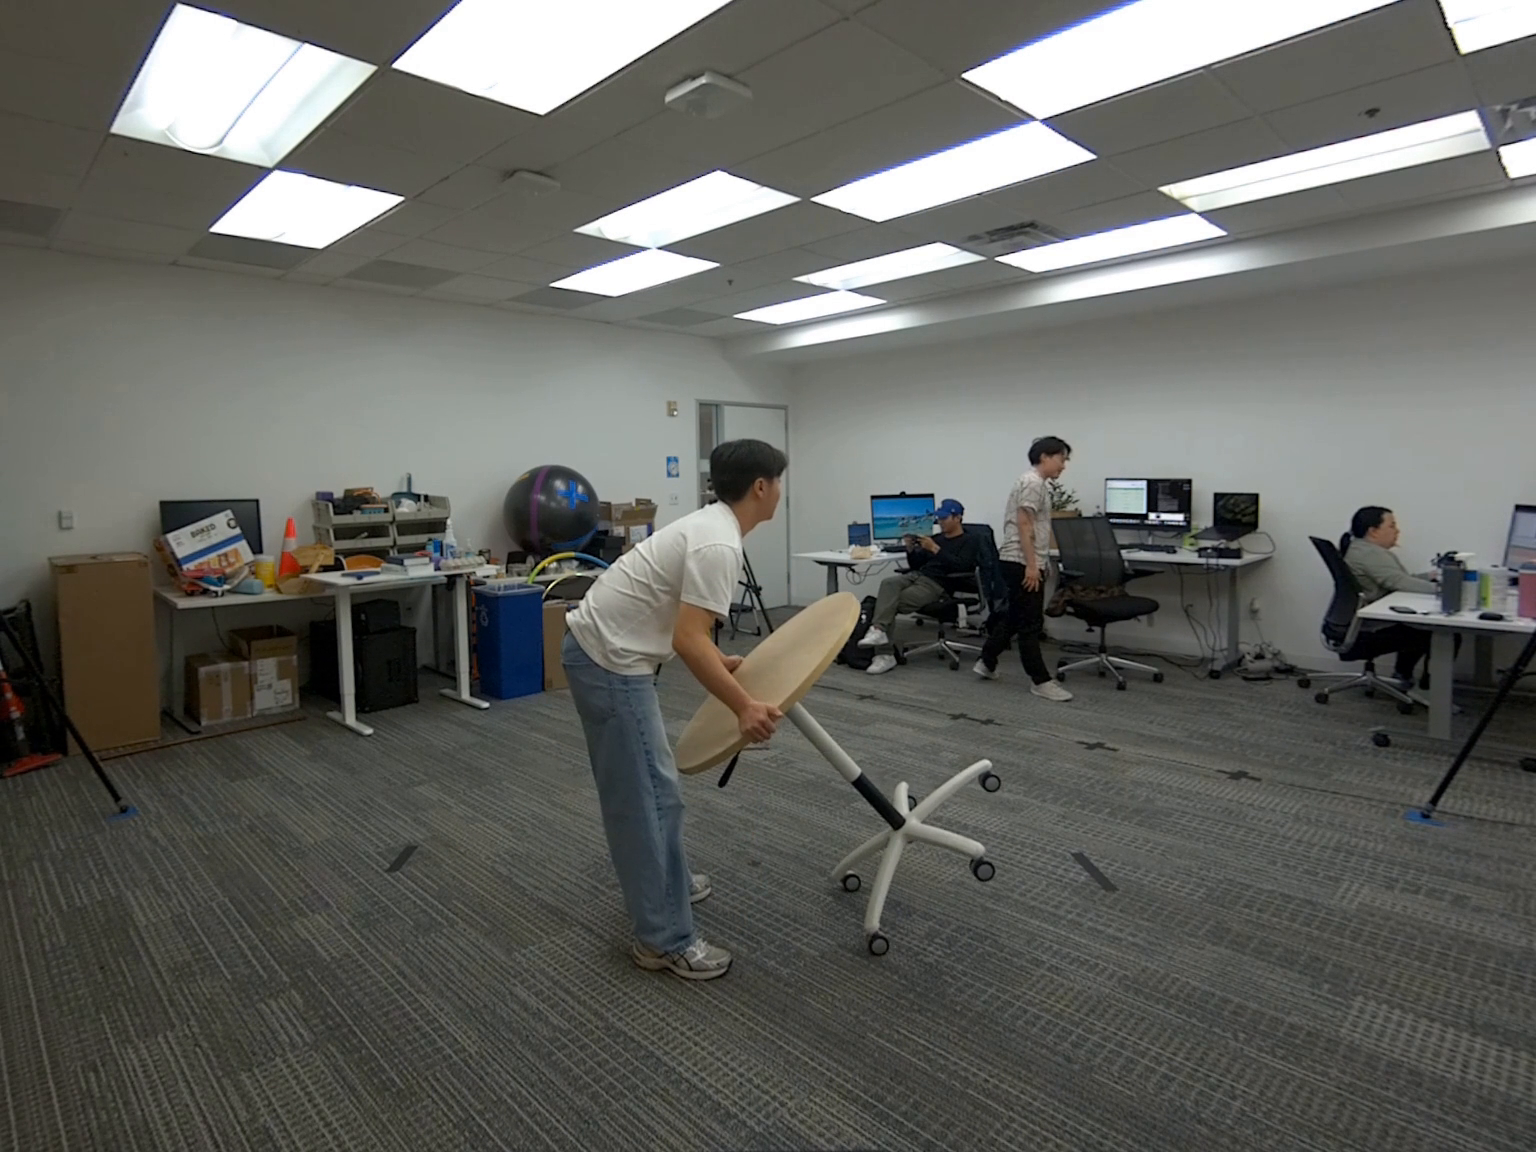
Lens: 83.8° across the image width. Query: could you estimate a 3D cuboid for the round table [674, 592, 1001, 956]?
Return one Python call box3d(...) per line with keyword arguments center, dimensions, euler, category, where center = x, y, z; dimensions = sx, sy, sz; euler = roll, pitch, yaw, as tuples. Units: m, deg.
box3d(center=(0.252, 0.593, 2.717), dimensions=(0.785, 0.780, 0.792), euler=(-41, 7, 4), category="round table")
